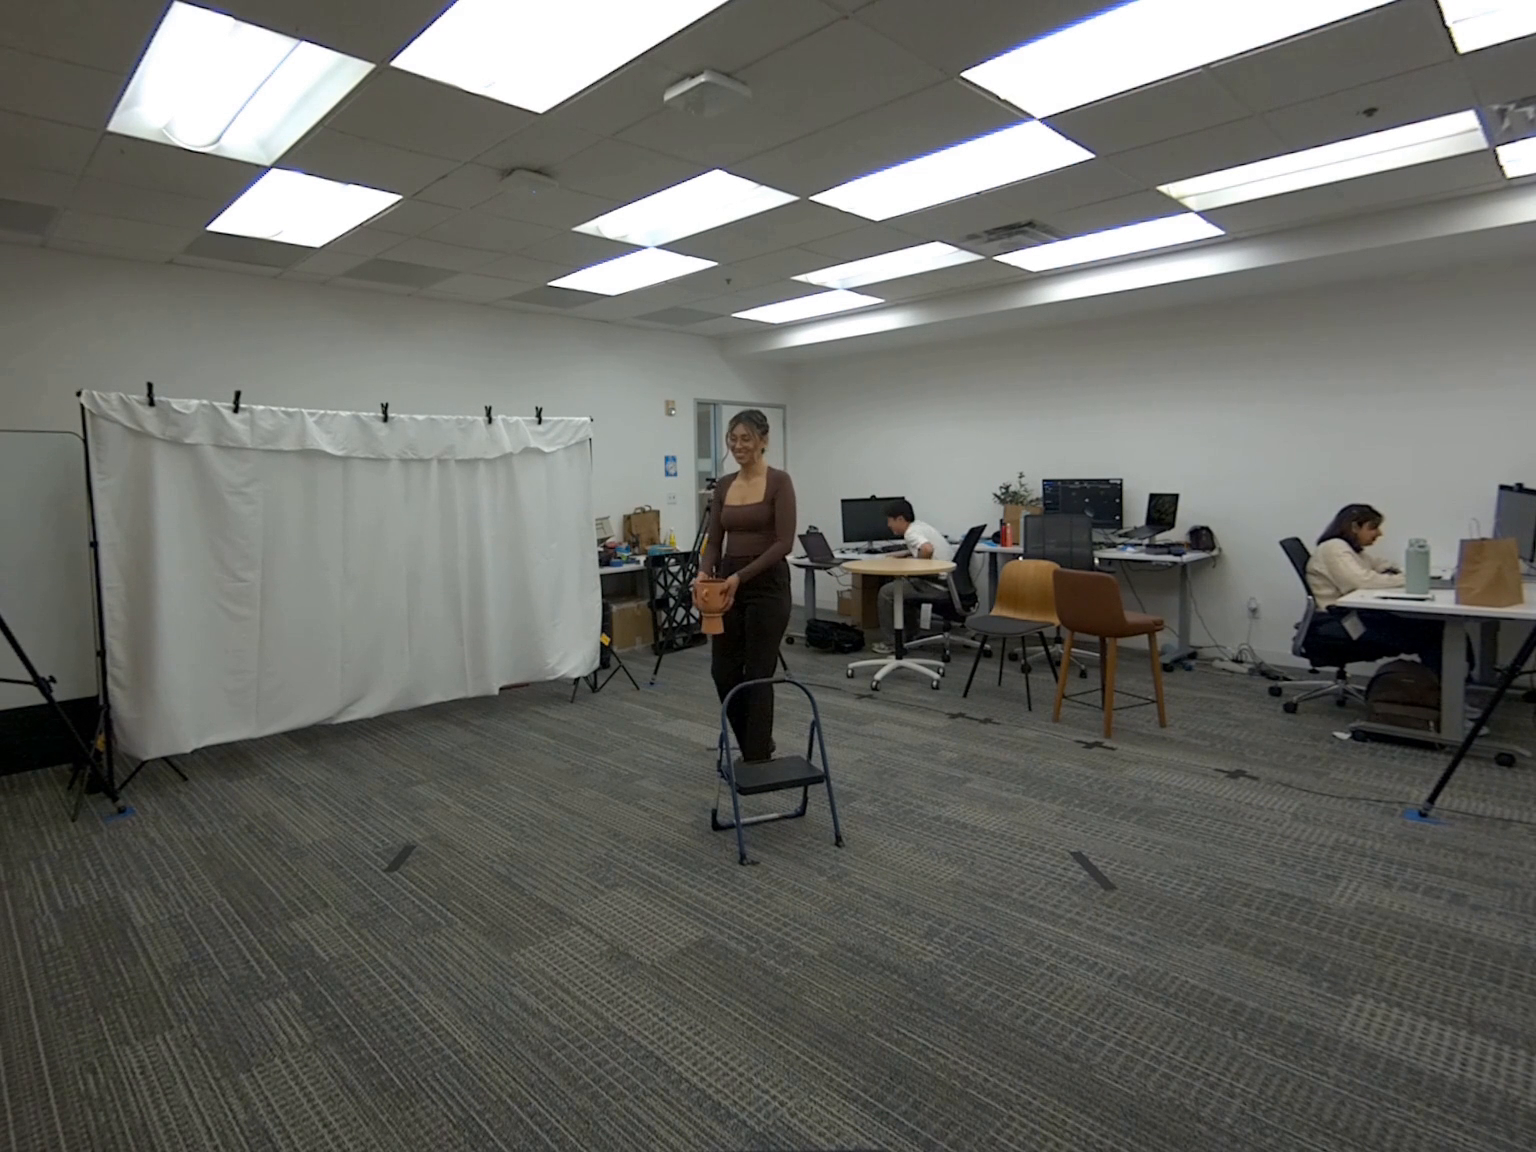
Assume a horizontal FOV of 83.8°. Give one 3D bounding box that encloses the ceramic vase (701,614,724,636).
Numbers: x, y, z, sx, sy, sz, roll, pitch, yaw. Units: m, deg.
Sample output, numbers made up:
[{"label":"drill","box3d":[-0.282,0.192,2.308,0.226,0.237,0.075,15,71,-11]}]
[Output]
[{"label":"ceramic vase","box3d":[-0.233,0.133,3.669,0.155,0.219,0.138,-3,6,-32]}]
